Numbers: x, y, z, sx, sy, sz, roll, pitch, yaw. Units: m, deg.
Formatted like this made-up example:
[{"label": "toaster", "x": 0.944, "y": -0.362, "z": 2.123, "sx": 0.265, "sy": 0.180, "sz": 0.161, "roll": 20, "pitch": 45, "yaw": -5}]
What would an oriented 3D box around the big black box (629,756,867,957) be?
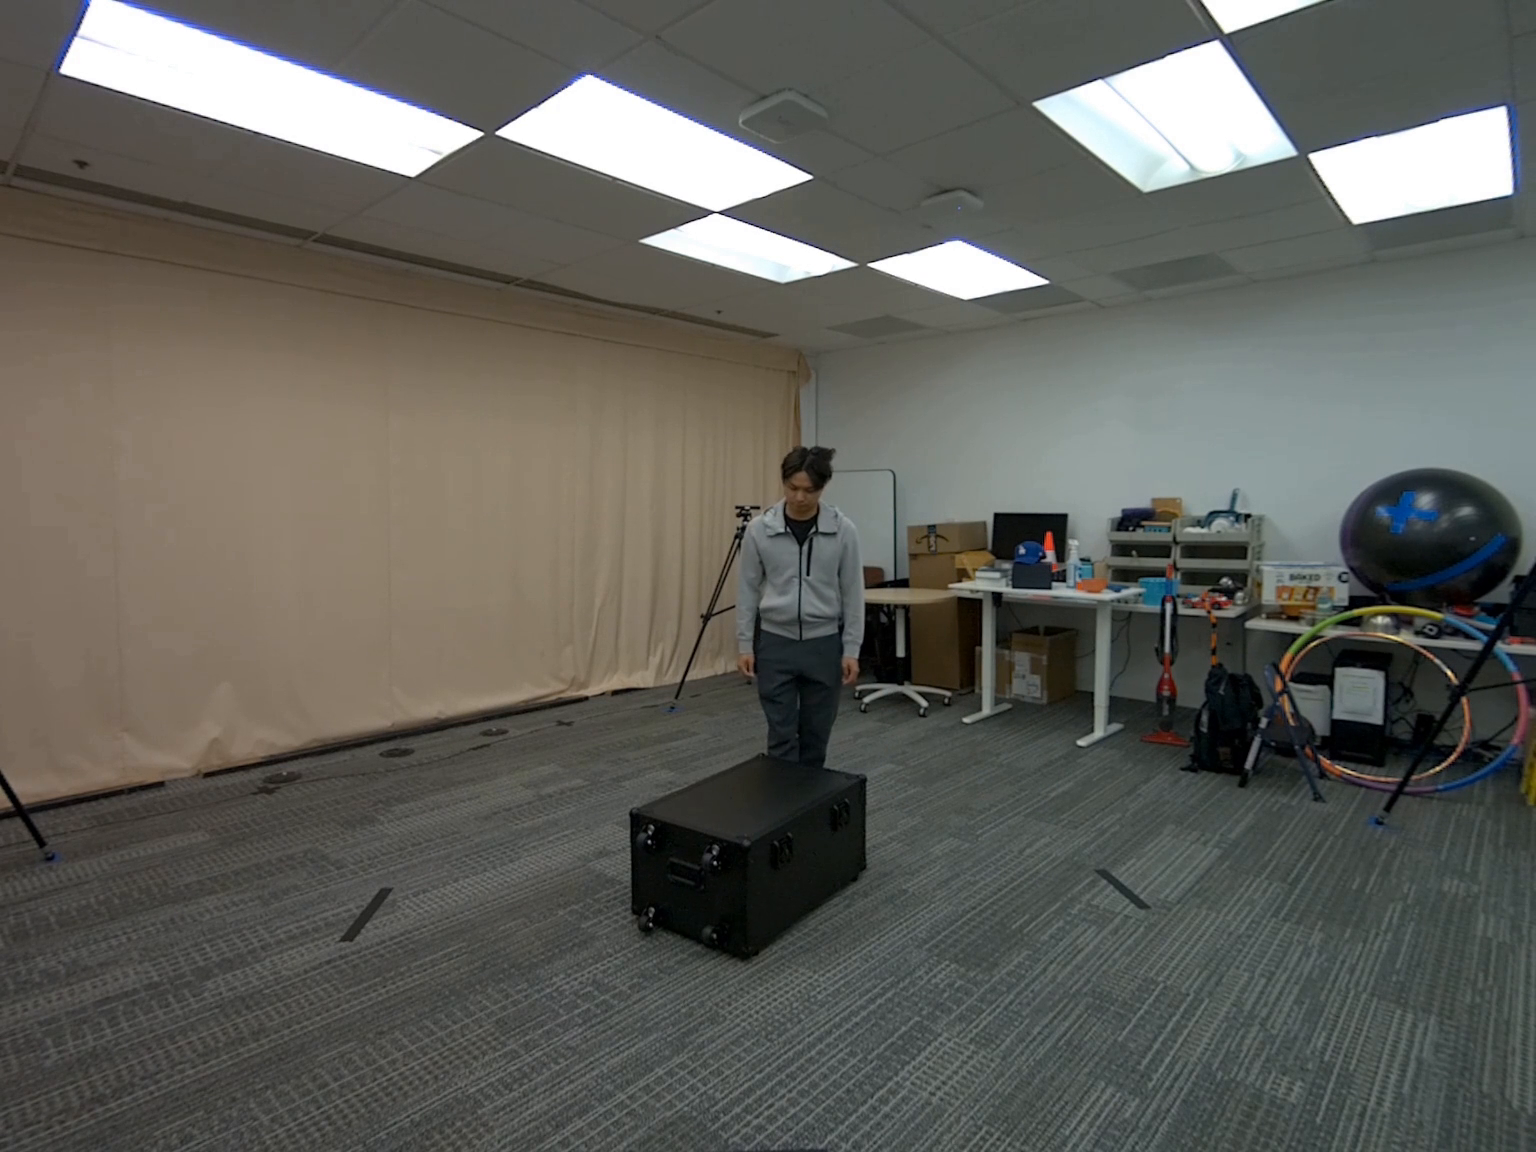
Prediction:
[{"label": "big black box", "x": -0.067, "y": 0.956, "z": 2.966, "sx": 0.538, "sy": 0.395, "sz": 0.836, "roll": 3, "pitch": 5, "yaw": 35}]
